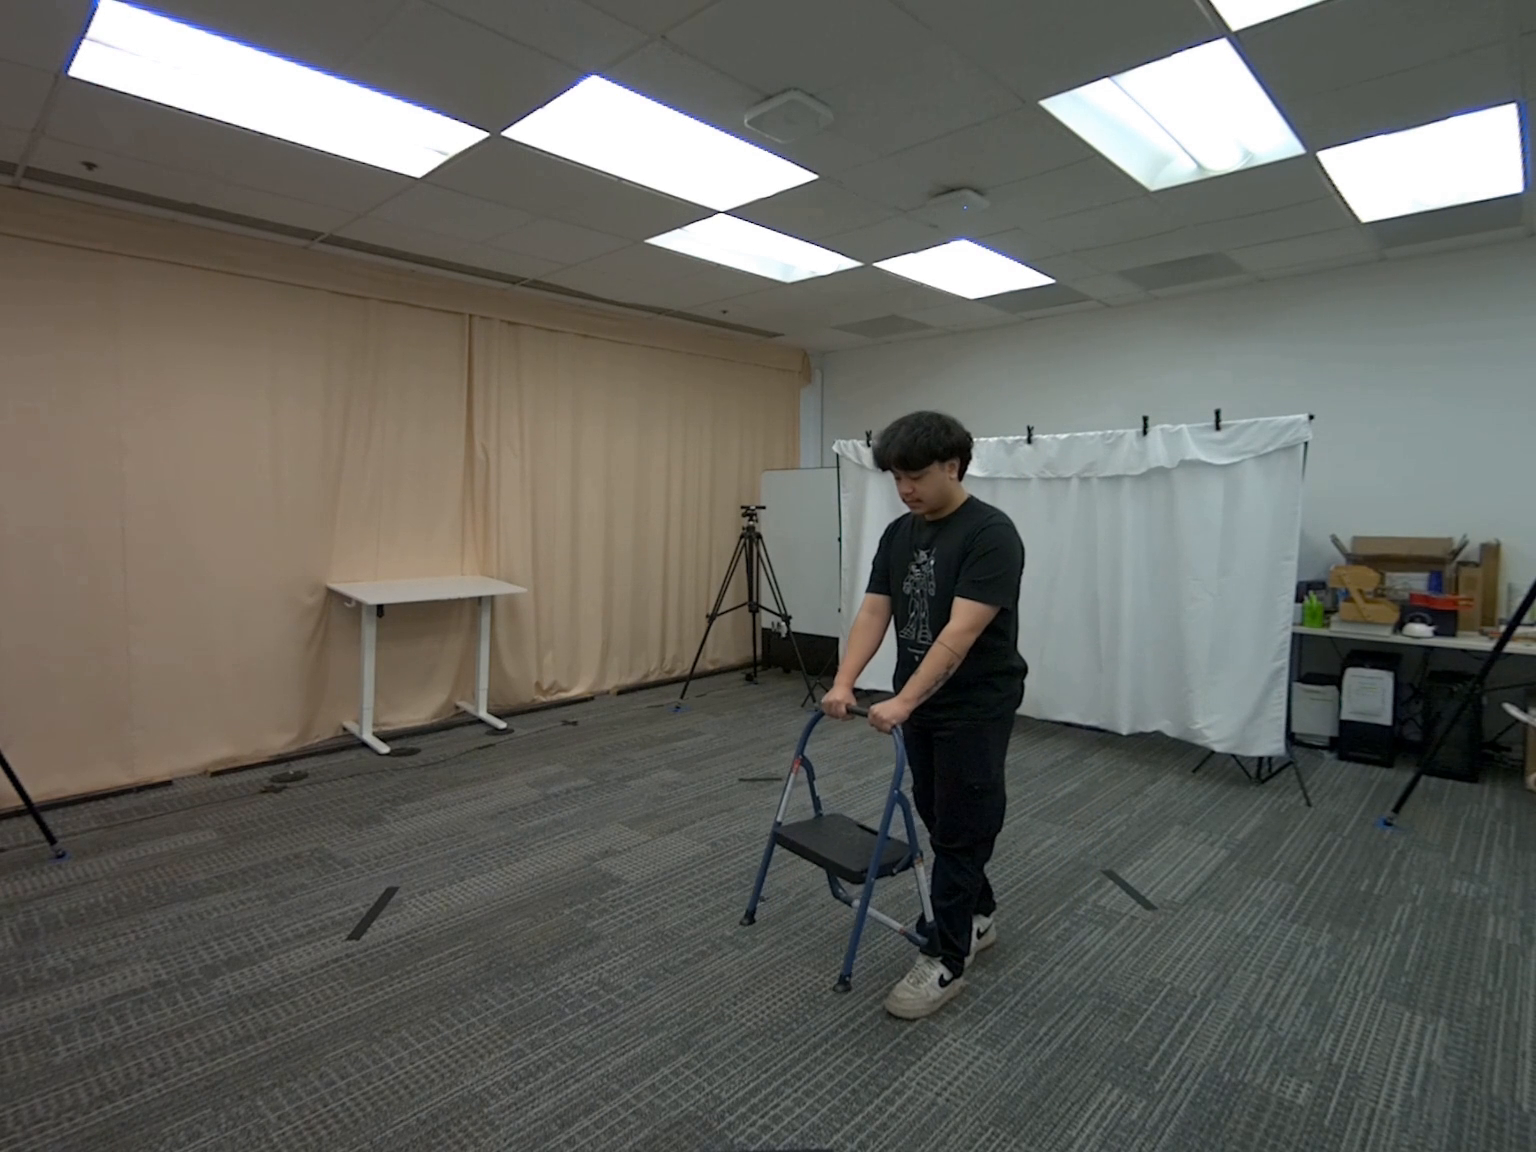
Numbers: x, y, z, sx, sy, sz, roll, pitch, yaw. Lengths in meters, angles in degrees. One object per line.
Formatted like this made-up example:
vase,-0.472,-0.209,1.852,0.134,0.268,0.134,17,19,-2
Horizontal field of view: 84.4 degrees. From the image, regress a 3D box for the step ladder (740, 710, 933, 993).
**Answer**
step ladder,0.194,0.672,2.227,0.339,0.605,0.444,-2,3,-35
